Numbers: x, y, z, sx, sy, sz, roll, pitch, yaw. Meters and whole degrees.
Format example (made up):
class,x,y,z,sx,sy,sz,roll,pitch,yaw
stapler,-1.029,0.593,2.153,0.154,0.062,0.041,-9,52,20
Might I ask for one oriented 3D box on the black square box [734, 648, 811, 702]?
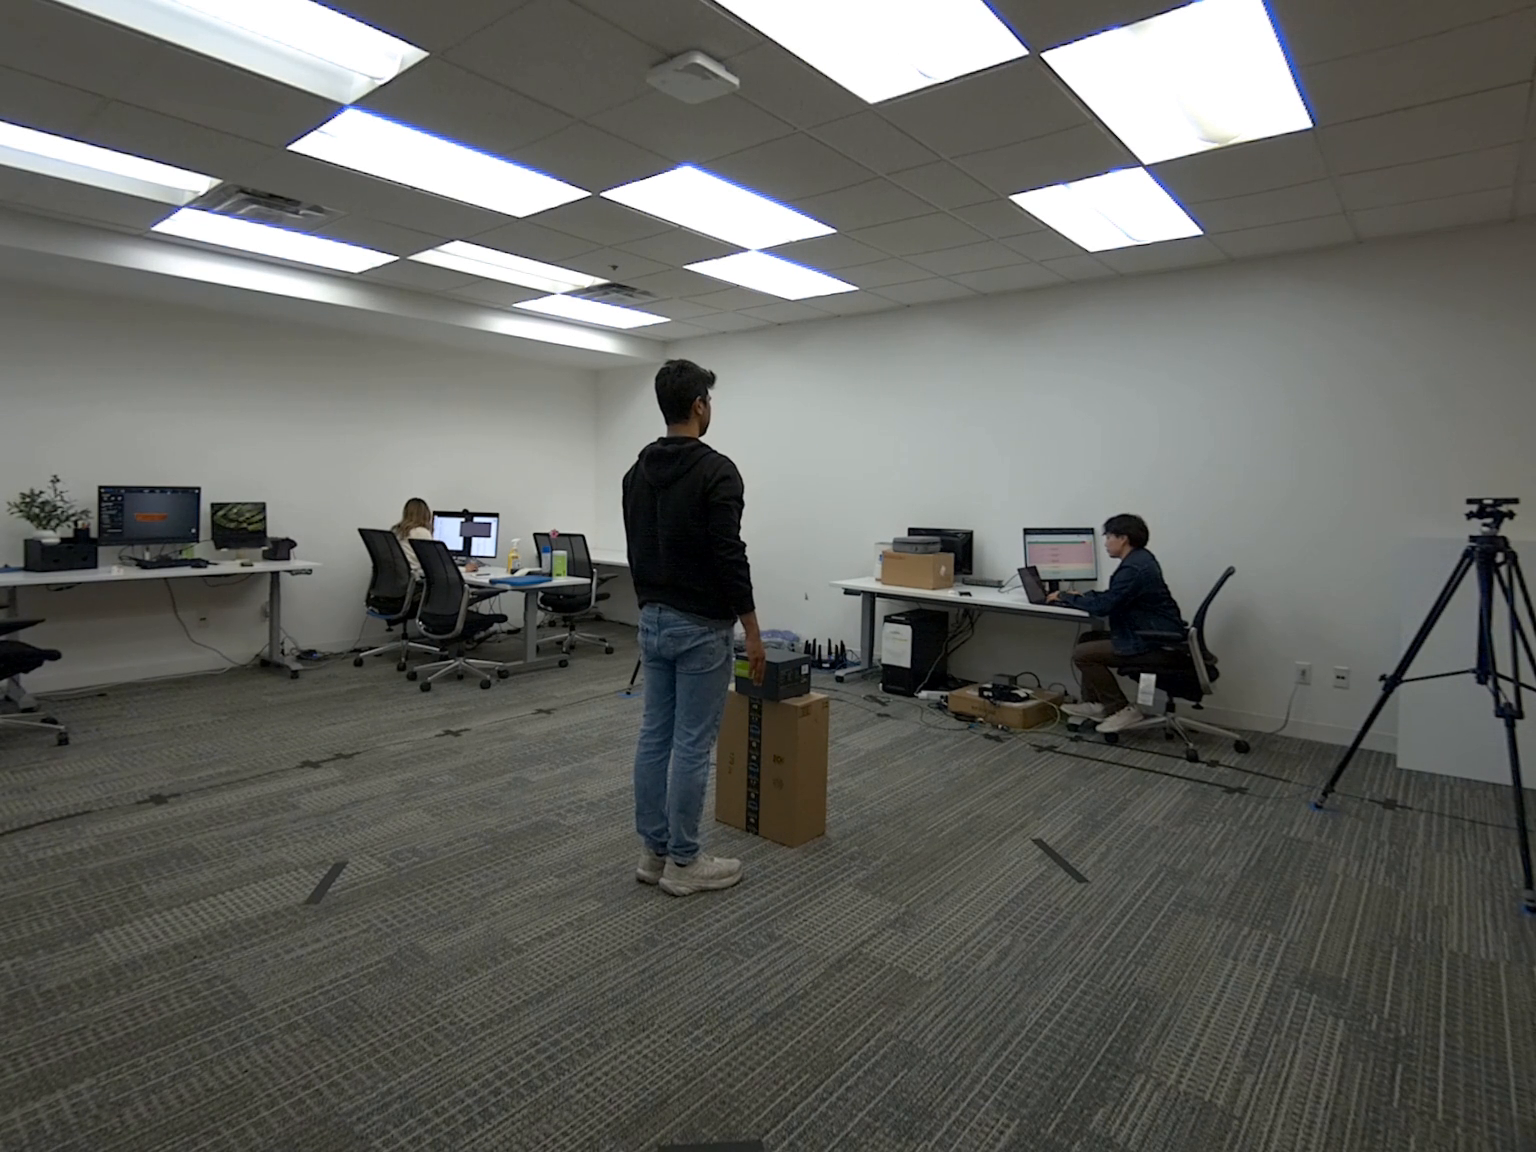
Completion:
class,x,y,z,sx,sy,sz,roll,pitch,yaw
black square box,0.008,0.391,3.456,0.236,0.155,0.210,5,7,41
